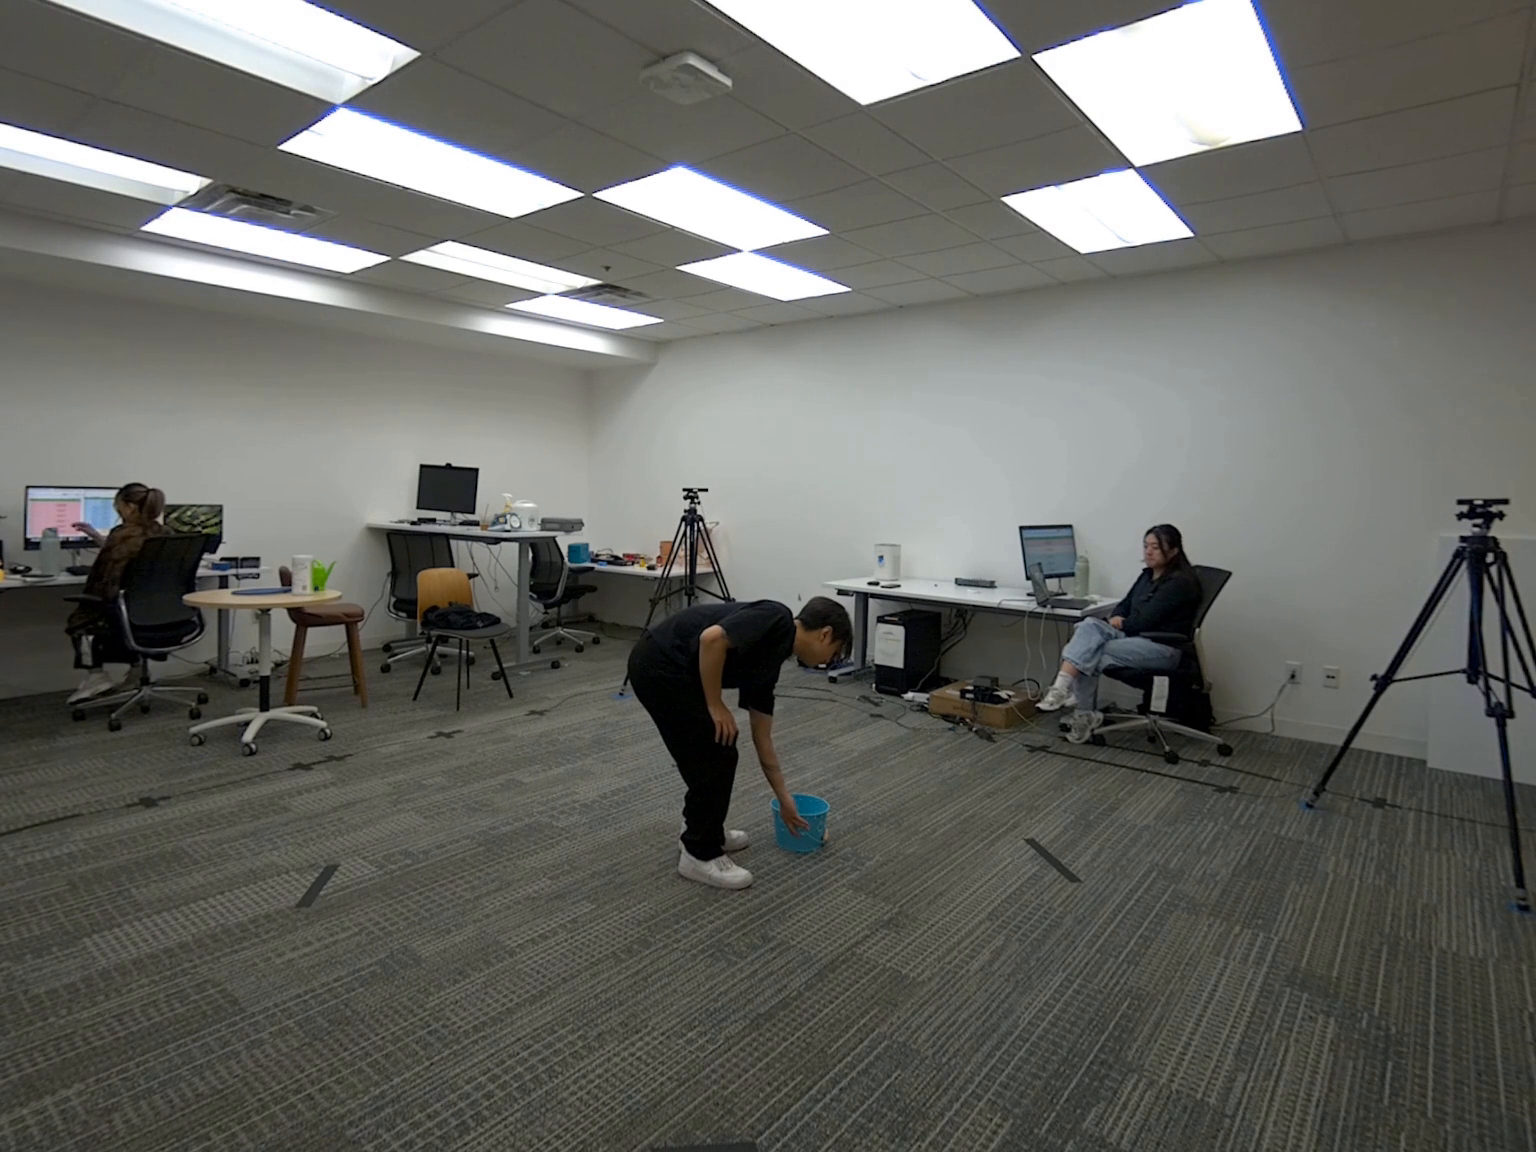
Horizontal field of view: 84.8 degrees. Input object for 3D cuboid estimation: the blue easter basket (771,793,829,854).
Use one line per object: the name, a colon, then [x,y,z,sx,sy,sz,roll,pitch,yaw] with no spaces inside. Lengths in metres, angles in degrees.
blue easter basket: [0.117,0.979,3.366,0.243,0.155,0.244,2,4,-2]
